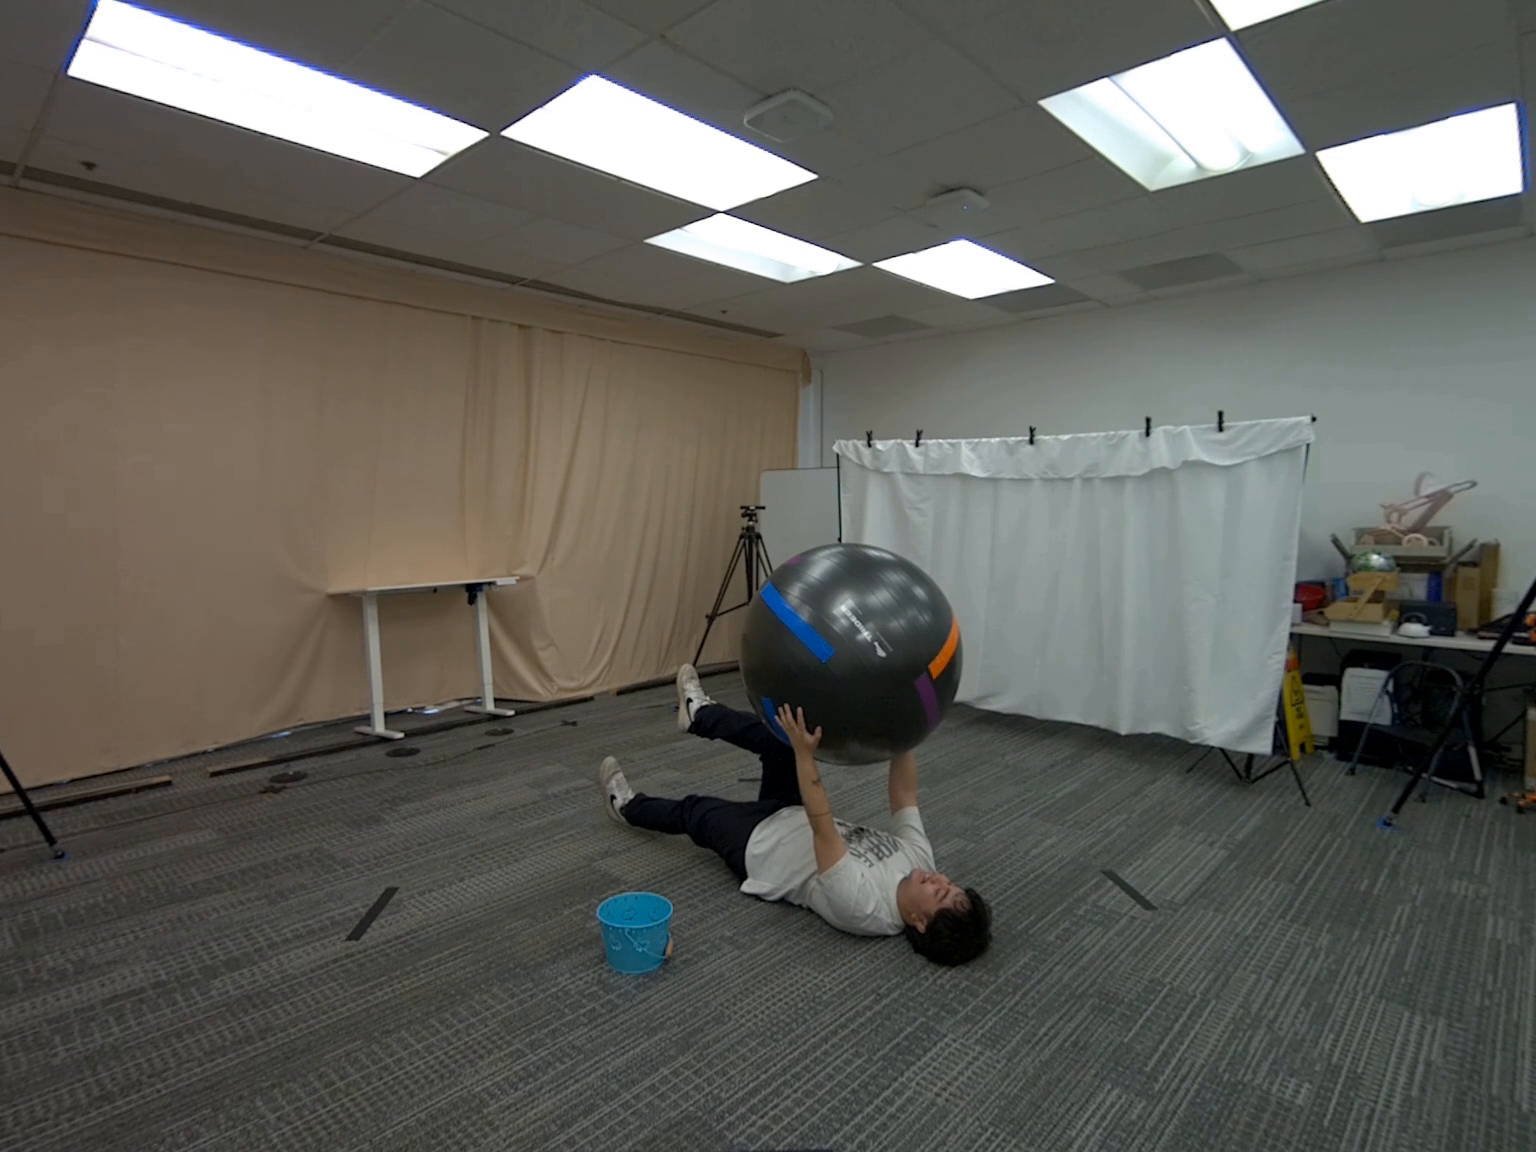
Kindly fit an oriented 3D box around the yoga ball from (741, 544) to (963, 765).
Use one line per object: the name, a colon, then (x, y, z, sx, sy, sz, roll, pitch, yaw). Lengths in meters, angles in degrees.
yoga ball: (0.283, 0.270, 2.903, 0.757, 0.756, 0.761, 0, 4, -2)
